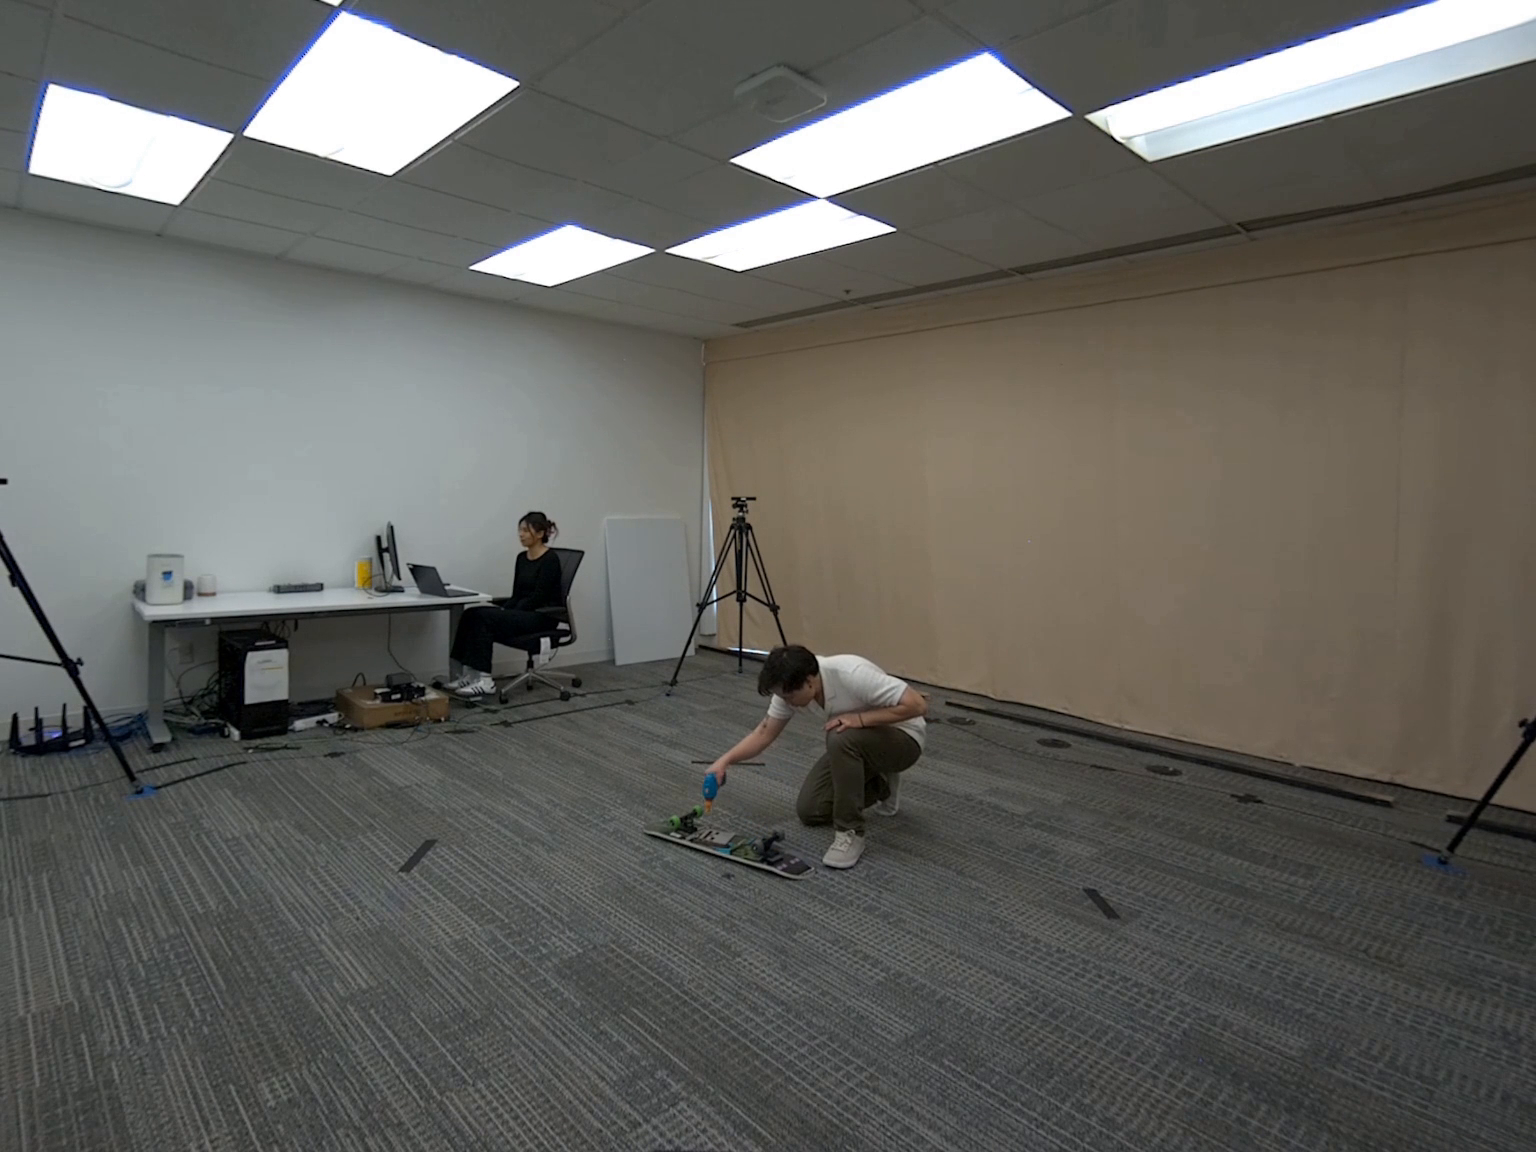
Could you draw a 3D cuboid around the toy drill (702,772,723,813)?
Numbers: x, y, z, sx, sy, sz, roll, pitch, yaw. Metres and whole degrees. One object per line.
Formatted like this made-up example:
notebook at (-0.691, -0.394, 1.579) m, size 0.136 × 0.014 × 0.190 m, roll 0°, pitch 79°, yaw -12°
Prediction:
toy drill at (-0.229, 0.874, 3.446) m, size 0.062 × 0.170 × 0.144 m, roll 4°, pitch 1°, yaw 19°
